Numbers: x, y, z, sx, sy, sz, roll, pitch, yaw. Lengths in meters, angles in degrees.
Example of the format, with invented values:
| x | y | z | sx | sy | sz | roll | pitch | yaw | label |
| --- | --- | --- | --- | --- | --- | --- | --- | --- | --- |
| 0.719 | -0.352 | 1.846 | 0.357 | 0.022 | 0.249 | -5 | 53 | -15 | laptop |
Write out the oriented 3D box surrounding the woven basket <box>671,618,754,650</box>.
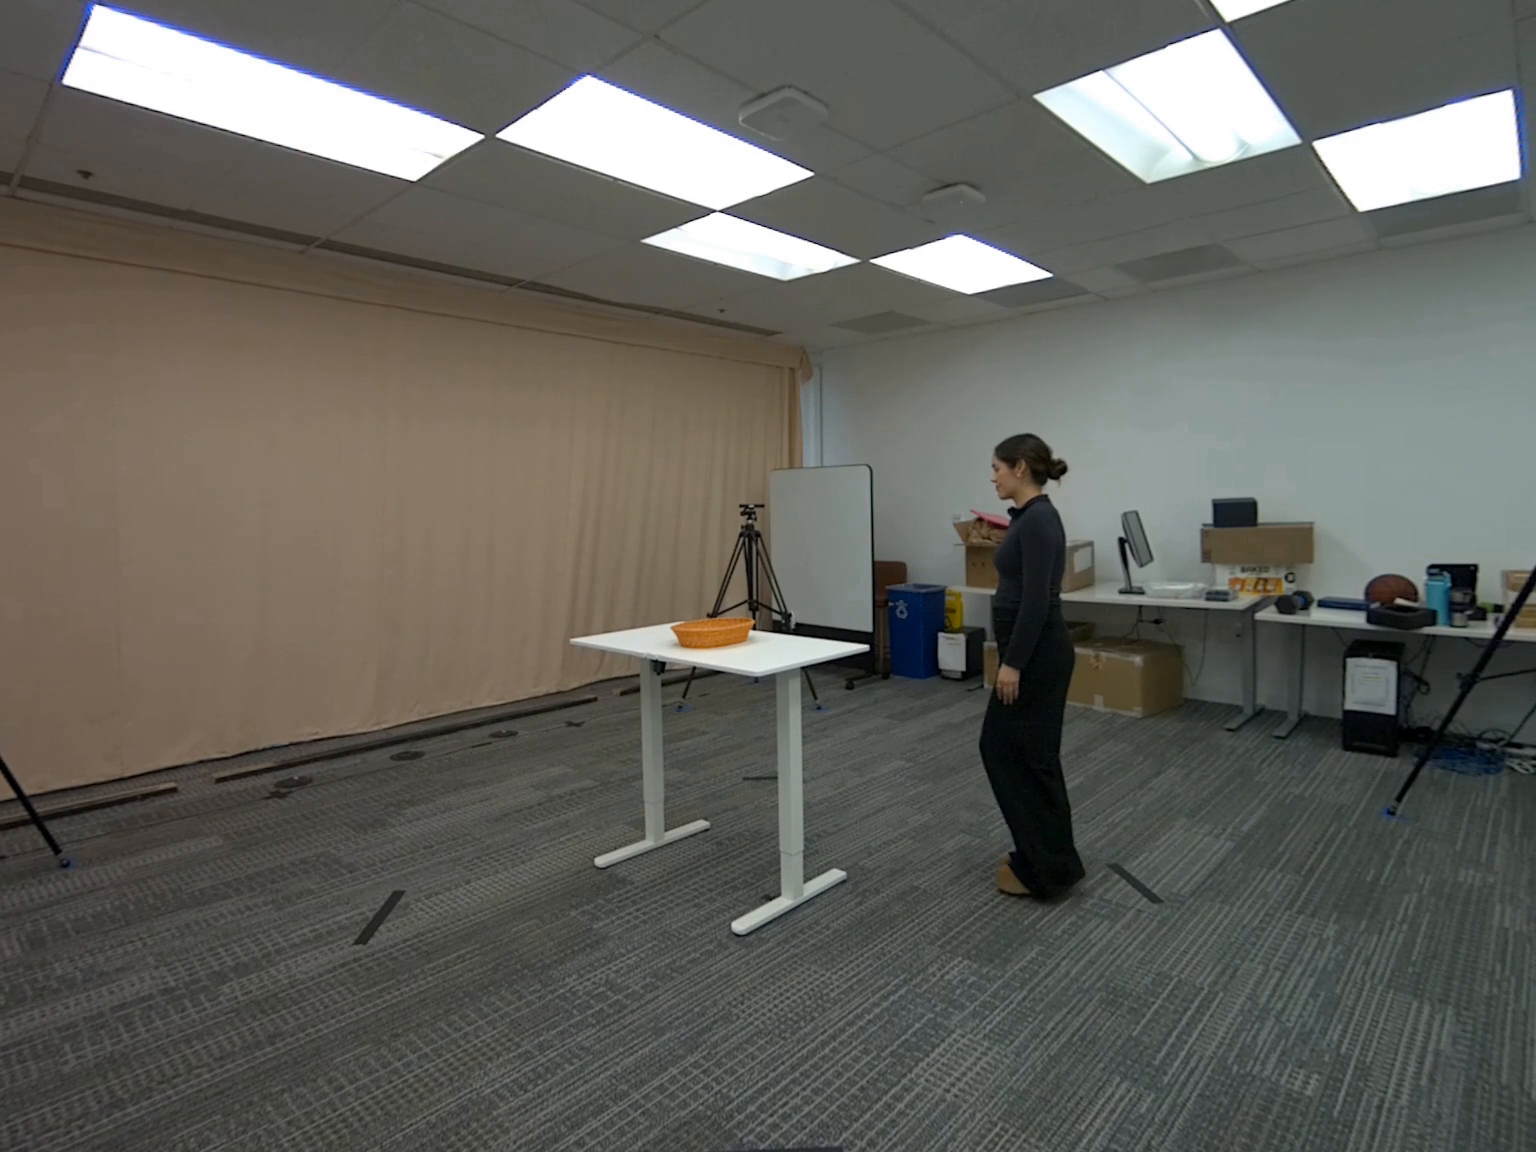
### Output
| x | y | z | sx | sy | sz | roll | pitch | yaw | label |
| --- | --- | --- | --- | --- | --- | --- | --- | --- | --- |
| -0.203 | 0.218 | 3.153 | 0.340 | 0.073 | 0.261 | -6 | 7 | -42 | woven basket |
